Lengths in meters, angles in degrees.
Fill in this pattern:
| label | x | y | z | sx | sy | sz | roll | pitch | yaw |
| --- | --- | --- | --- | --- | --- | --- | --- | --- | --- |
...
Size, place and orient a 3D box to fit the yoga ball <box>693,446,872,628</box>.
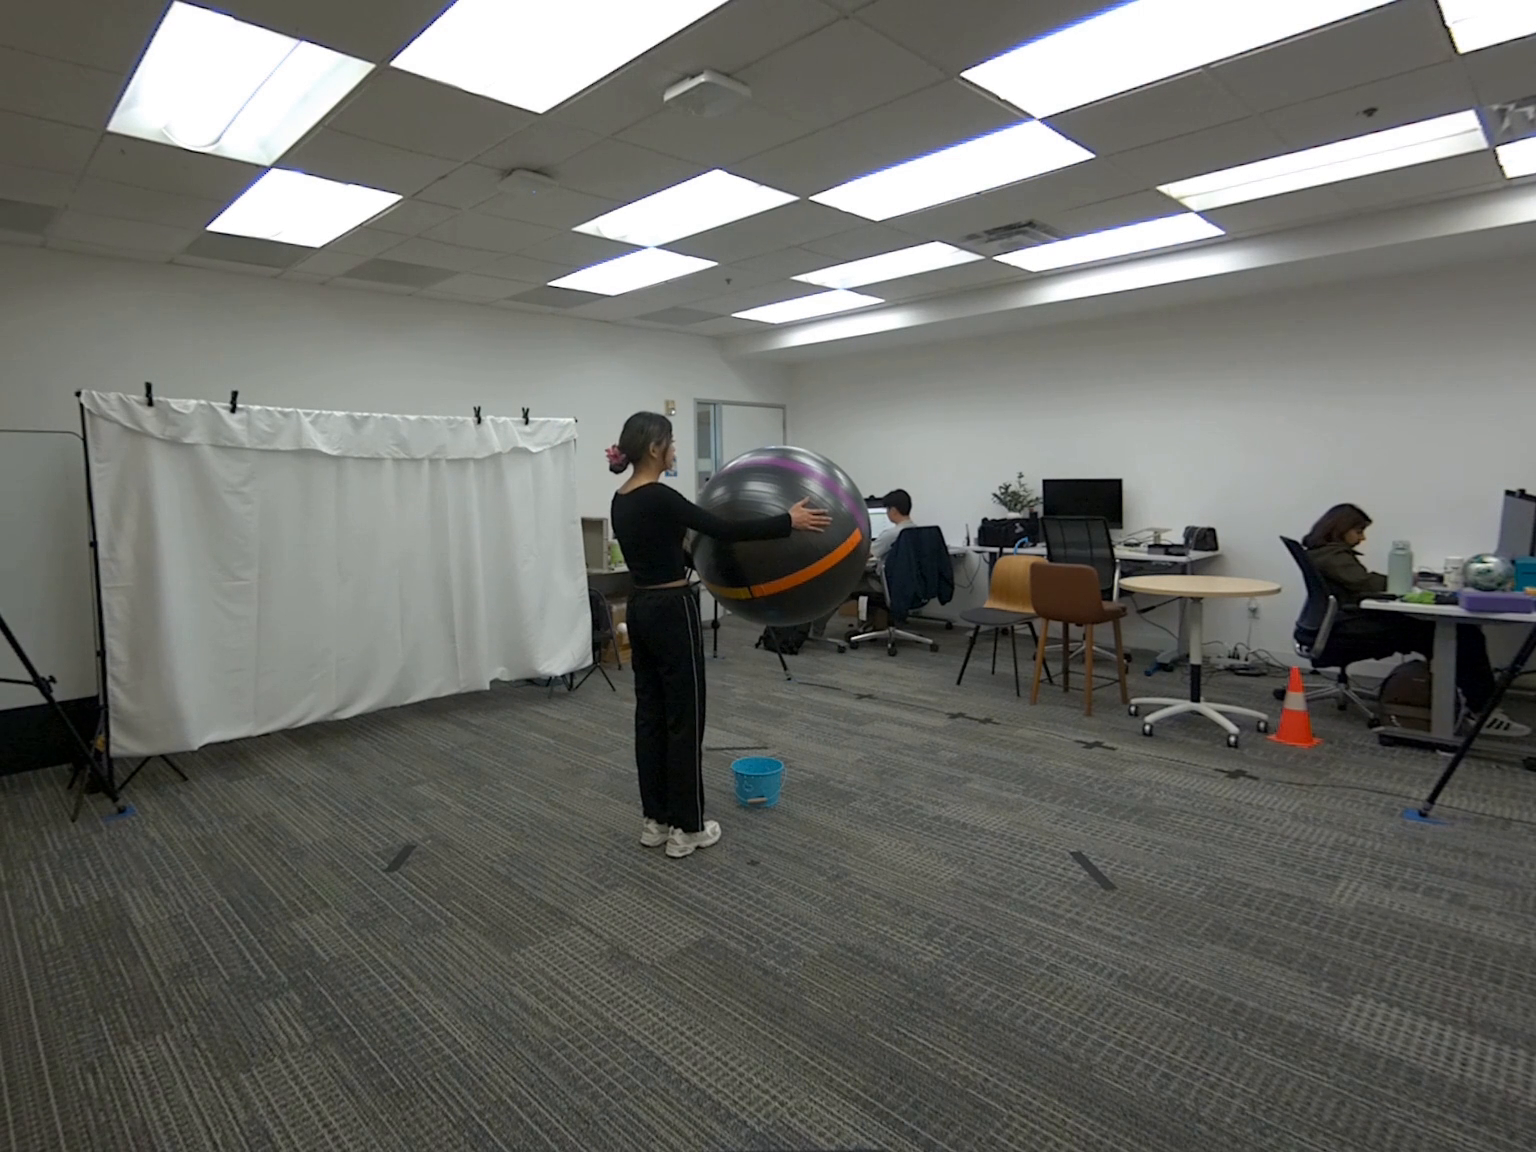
| label | x | y | z | sx | sy | sz | roll | pitch | yaw |
| --- | --- | --- | --- | --- | --- | --- | --- | --- | --- |
| yoga ball | 0.052 | -0.162 | 3.588 | 0.757 | 0.755 | 0.762 | -1 | 5 | -2 |
